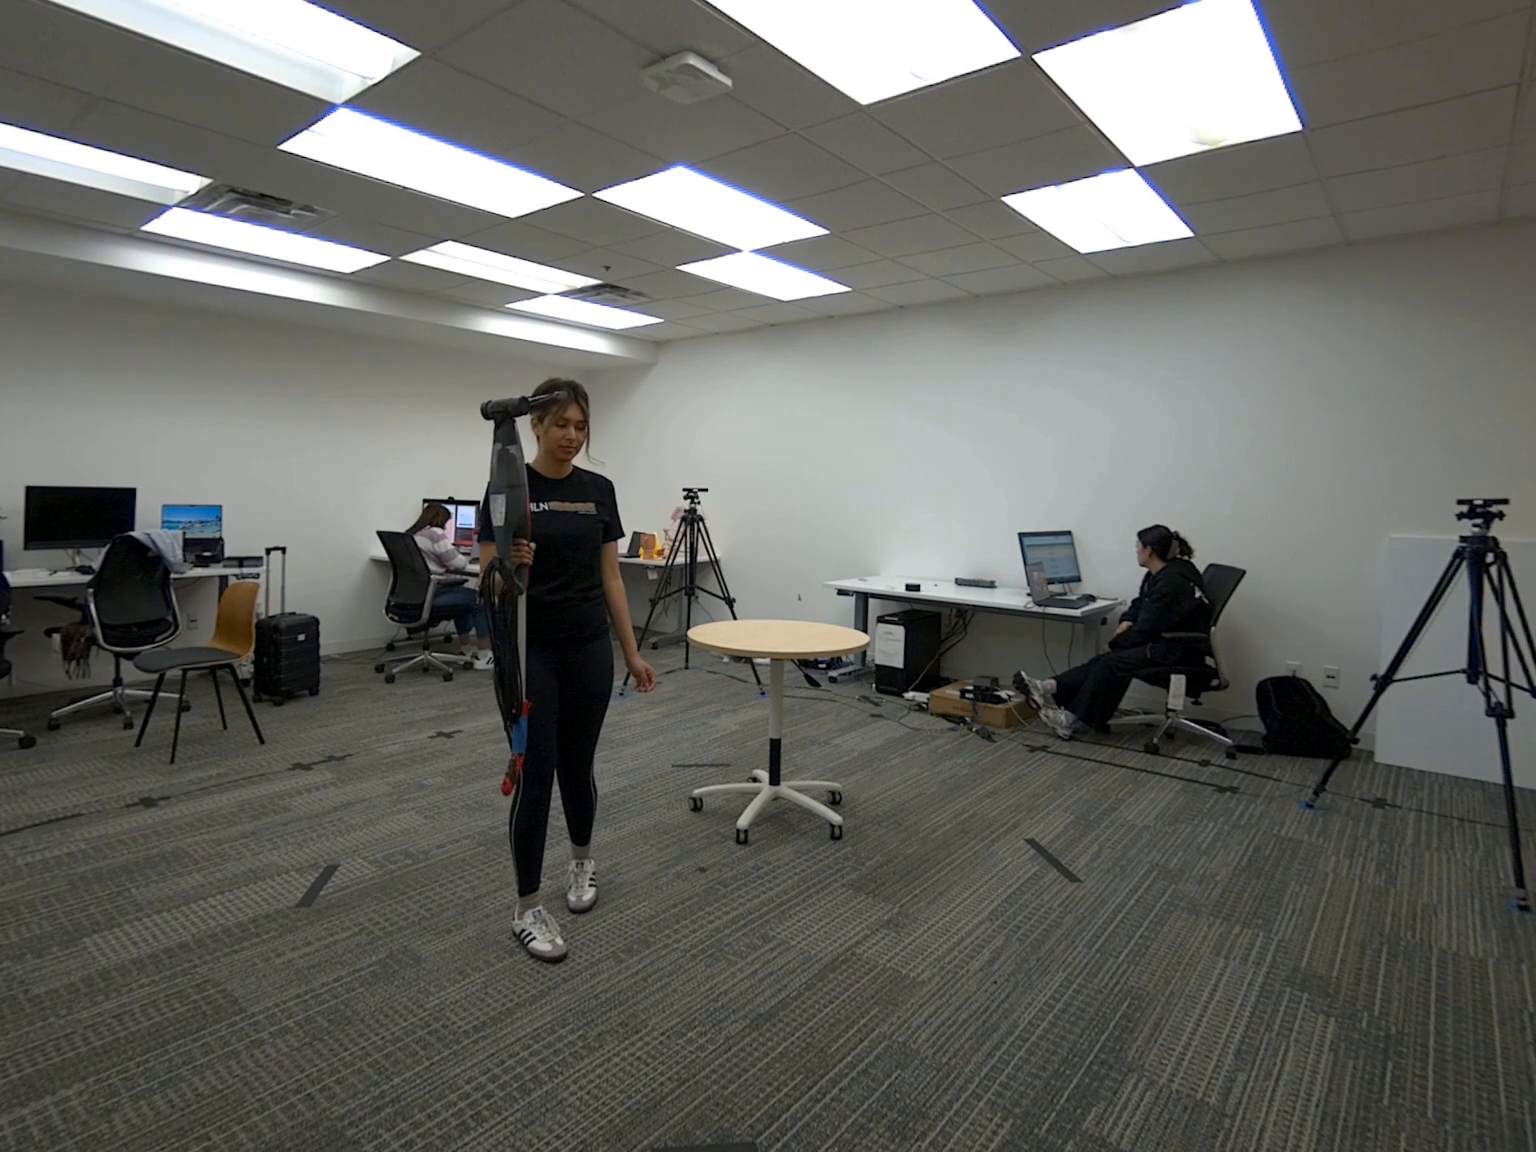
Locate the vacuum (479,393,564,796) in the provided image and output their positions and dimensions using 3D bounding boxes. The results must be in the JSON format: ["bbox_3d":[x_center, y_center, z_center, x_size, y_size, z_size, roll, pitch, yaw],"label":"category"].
[{"bbox_3d":[-0.703,0.043,2.260,0.259,1.055,0.139,-2,-7,28],"label":"vacuum"}]
